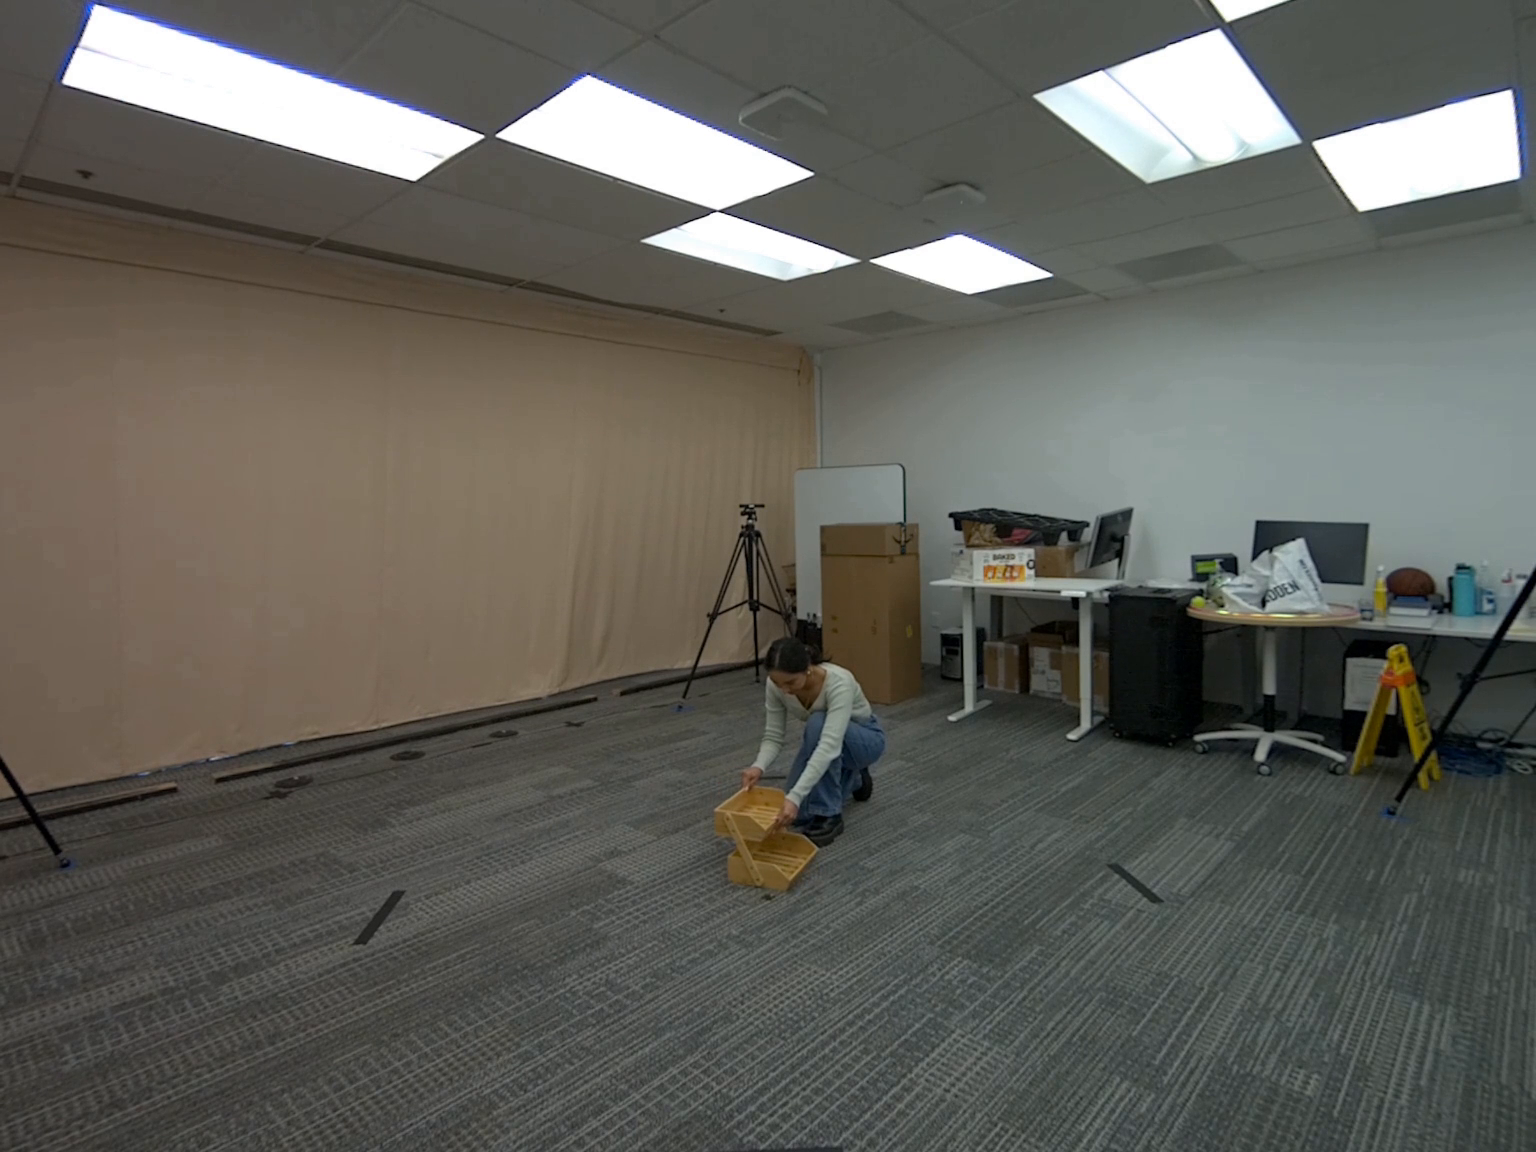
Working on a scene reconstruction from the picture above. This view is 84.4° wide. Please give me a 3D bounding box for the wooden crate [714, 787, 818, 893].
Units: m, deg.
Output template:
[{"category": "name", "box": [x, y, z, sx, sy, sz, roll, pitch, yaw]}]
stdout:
[{"category": "wooden crate", "box": [0.005, 0.982, 3.203, 0.310, 0.273, 0.317, 0, 4, 25]}]
